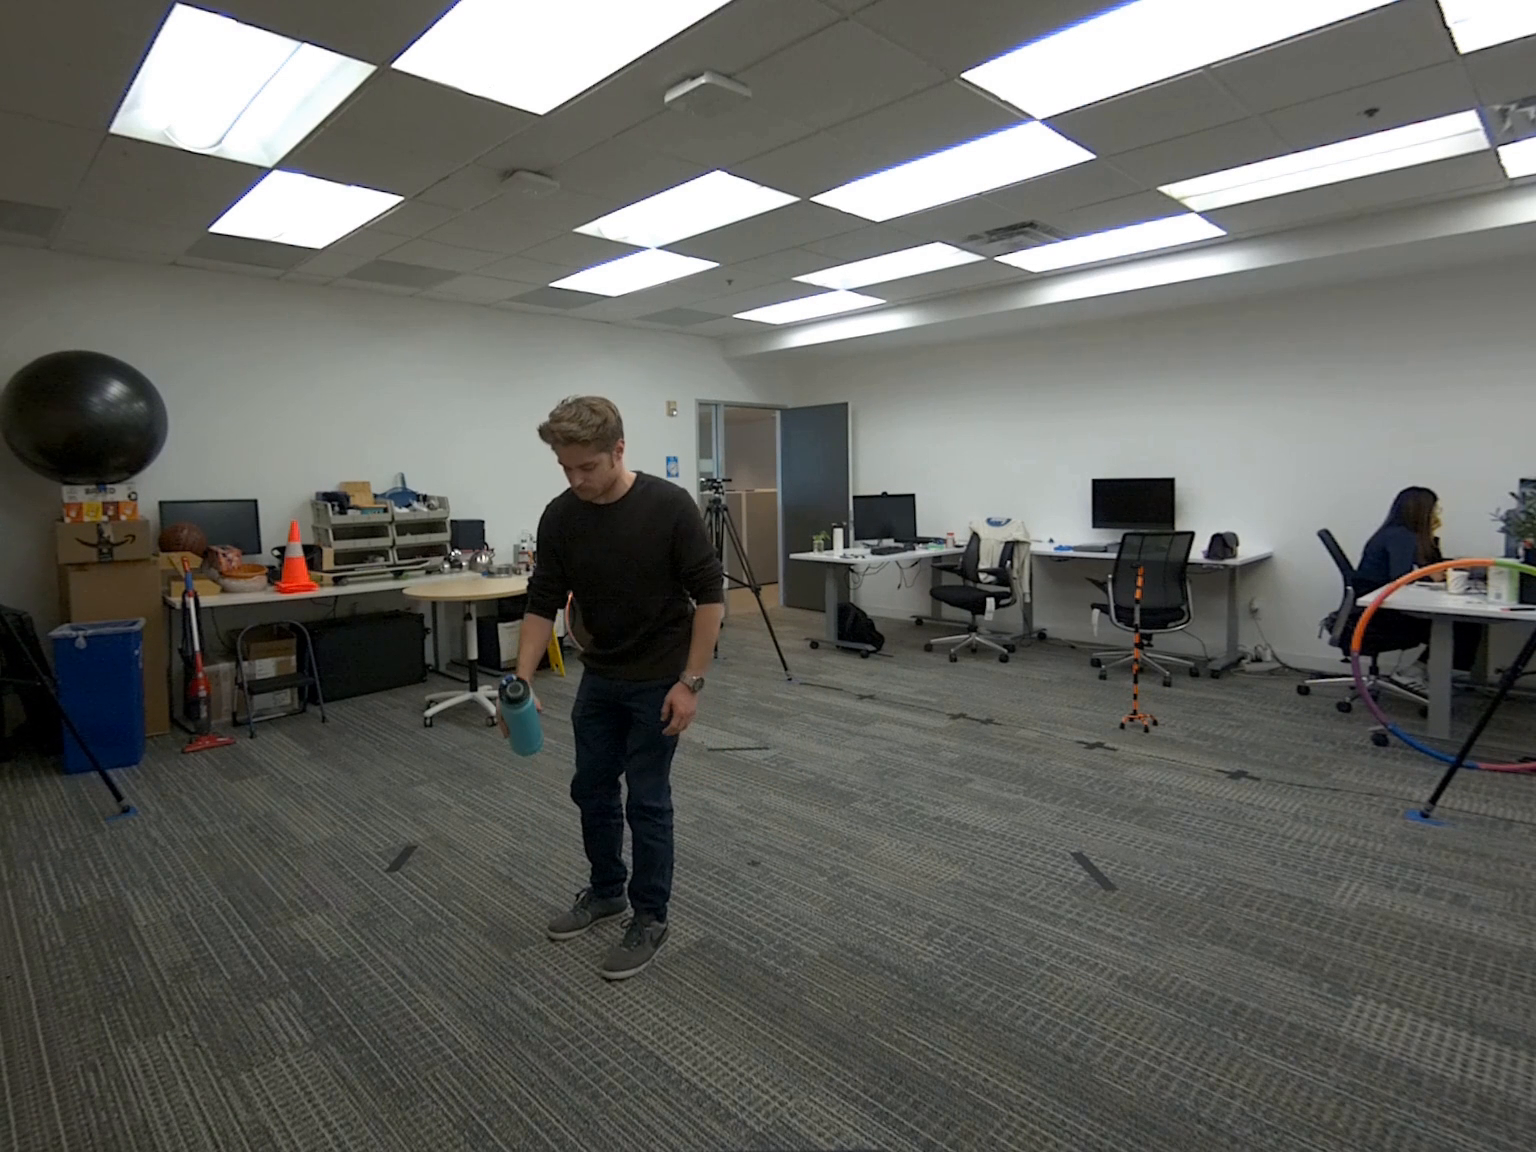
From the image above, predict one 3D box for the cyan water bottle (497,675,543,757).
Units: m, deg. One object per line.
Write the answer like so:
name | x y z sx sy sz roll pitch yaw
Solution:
cyan water bottle | -0.649 0.370 2.246 0.092 0.276 0.095 1 47 -3
